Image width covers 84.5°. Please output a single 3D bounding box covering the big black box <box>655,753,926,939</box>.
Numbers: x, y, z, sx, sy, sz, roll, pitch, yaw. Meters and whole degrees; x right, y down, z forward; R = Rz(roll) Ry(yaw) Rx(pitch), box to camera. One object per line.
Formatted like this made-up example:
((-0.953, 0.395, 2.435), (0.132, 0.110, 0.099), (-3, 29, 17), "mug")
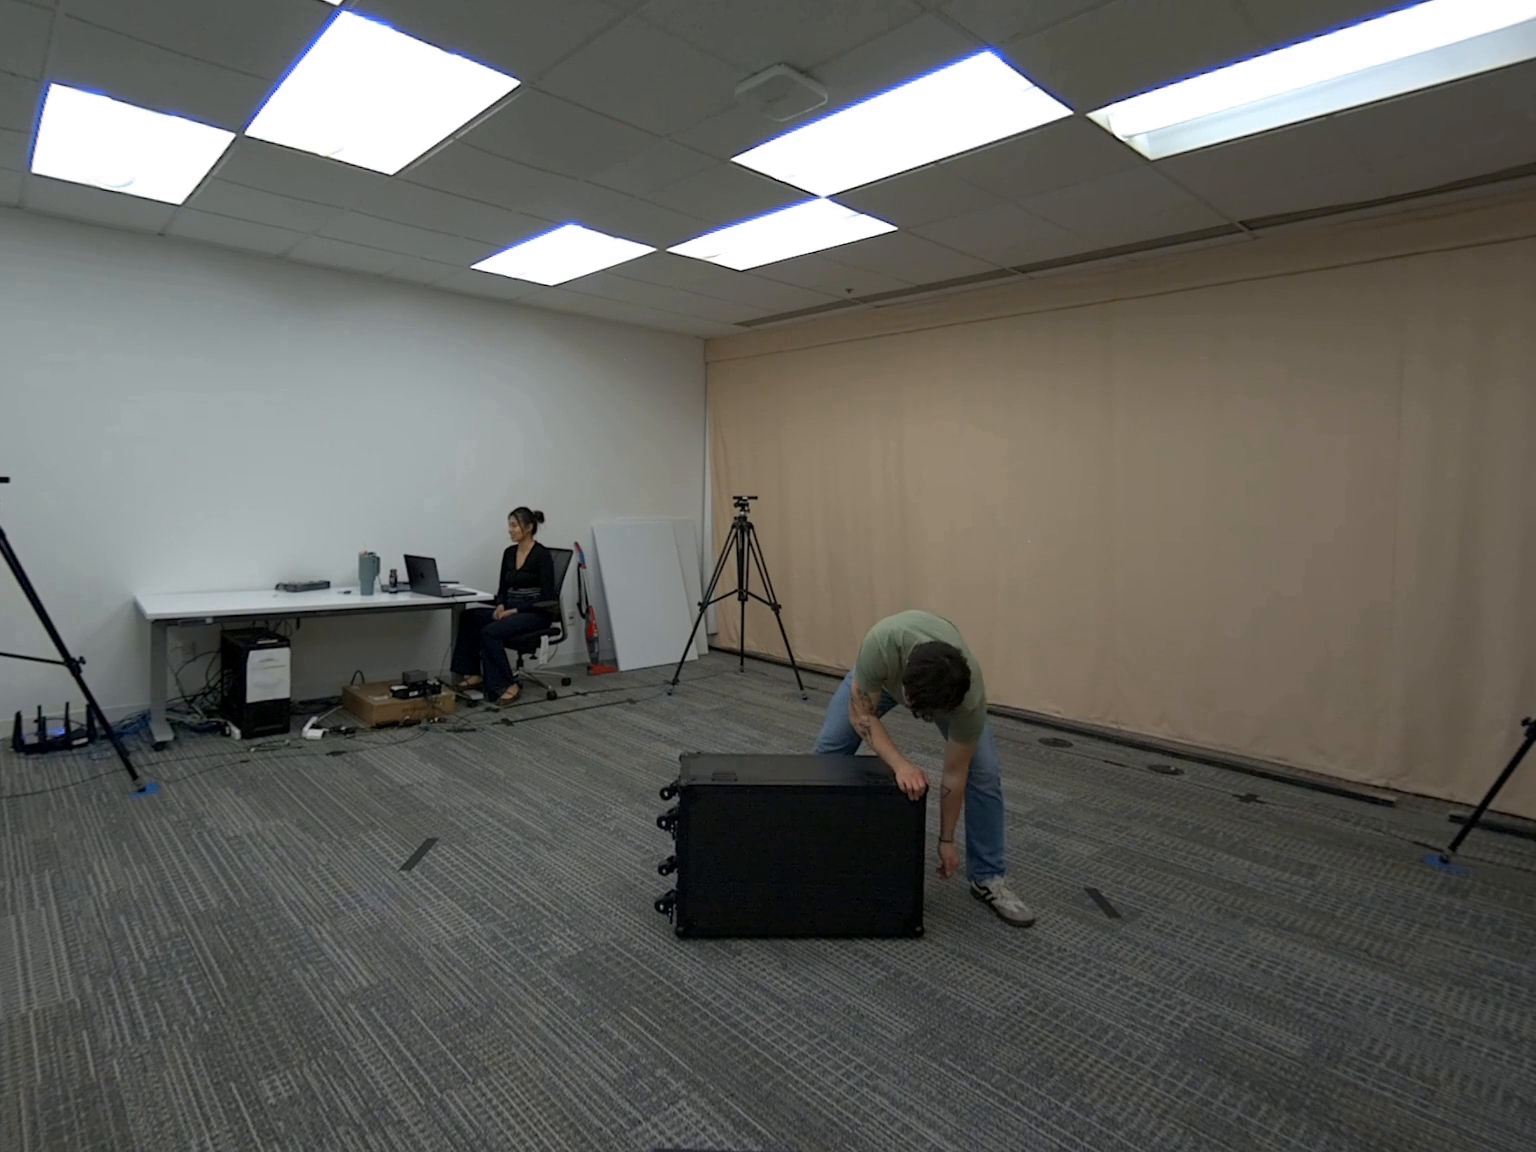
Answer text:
((0.050, 0.874, 2.819), (0.858, 0.520, 0.398), (1, 2, -5), "big black box")
